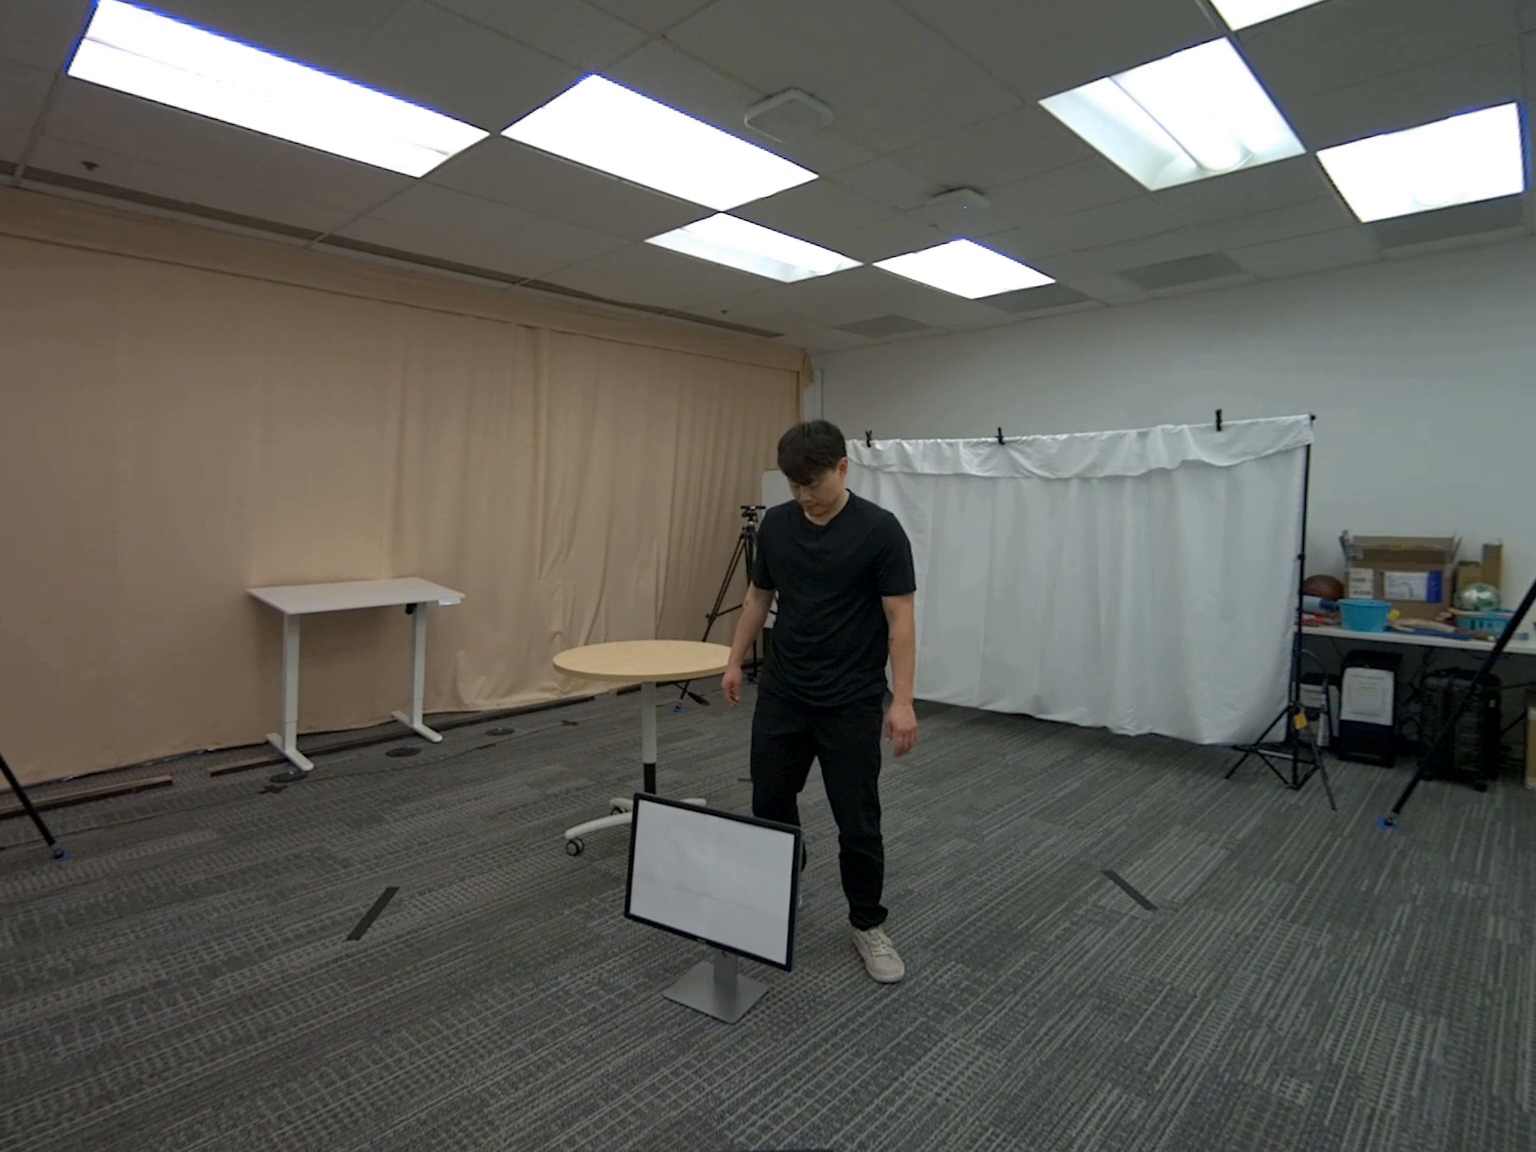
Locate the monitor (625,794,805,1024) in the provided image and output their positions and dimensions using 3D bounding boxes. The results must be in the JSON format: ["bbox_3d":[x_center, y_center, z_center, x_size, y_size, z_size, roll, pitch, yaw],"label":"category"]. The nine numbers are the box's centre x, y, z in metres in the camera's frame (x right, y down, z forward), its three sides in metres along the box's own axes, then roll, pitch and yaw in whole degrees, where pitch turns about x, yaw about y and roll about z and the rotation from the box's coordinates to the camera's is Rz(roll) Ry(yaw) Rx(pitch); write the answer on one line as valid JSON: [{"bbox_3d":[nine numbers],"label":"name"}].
[{"bbox_3d":[-0.141,0.934,2.385,0.555,0.521,0.182,1,4,31],"label":"monitor"}]
